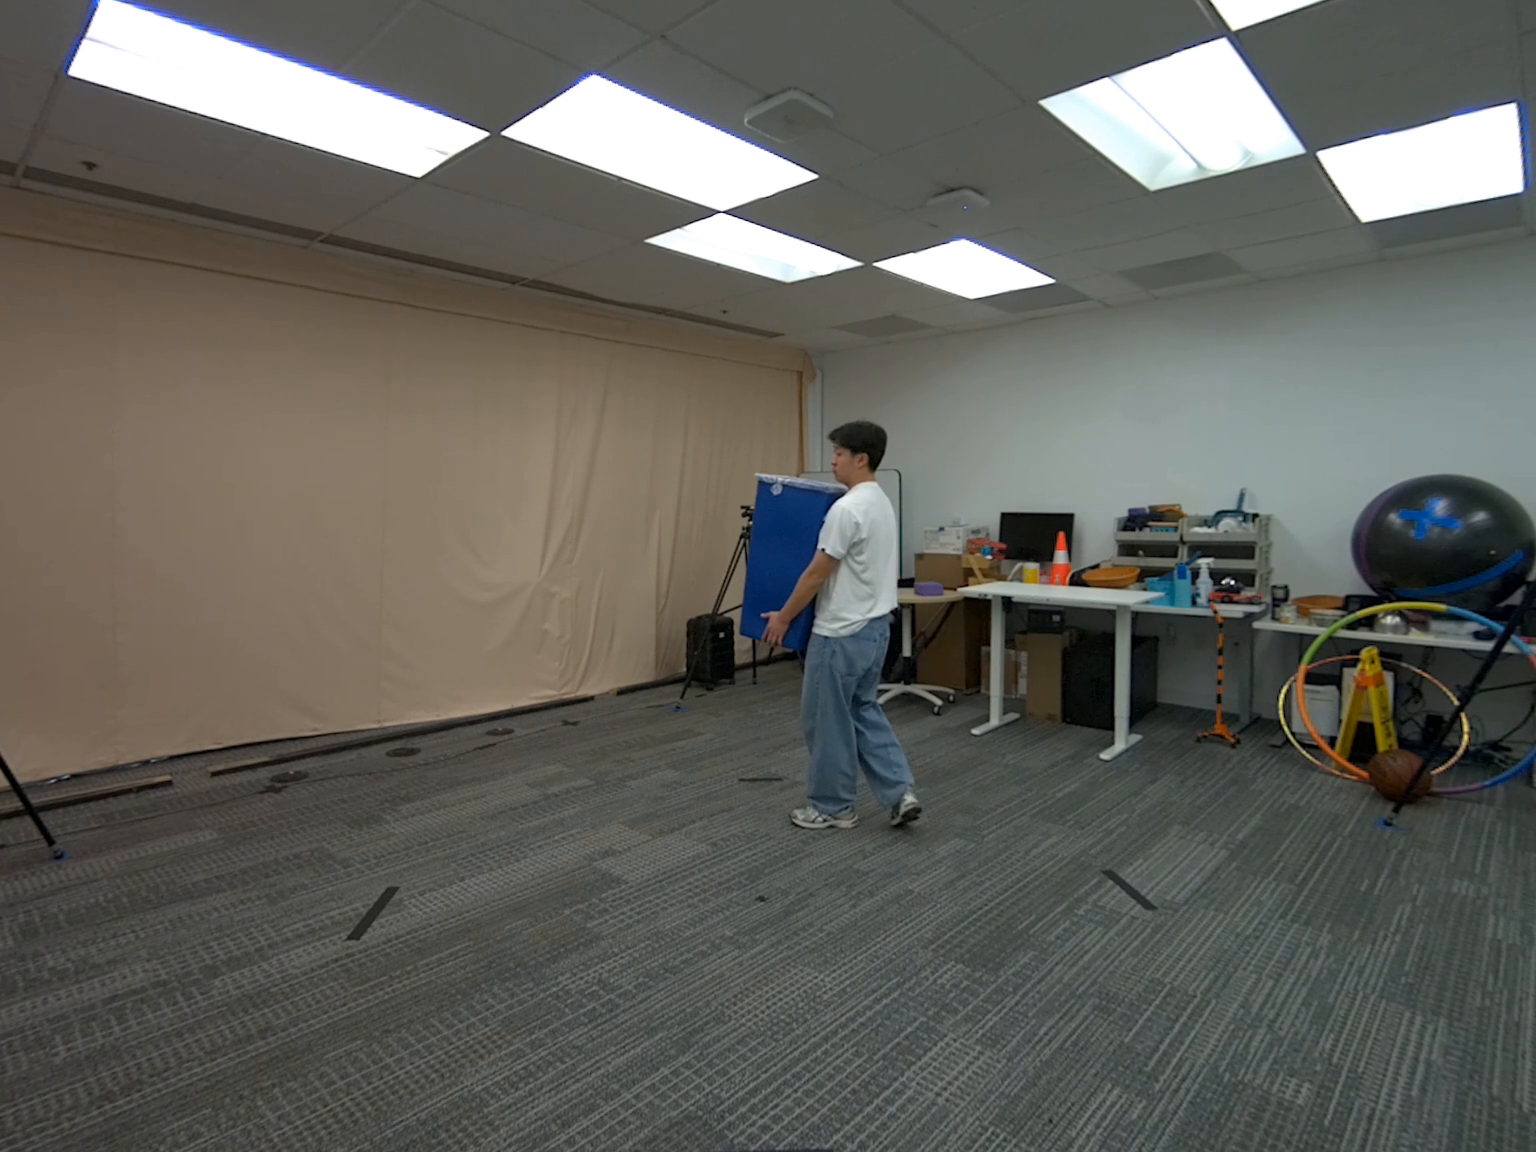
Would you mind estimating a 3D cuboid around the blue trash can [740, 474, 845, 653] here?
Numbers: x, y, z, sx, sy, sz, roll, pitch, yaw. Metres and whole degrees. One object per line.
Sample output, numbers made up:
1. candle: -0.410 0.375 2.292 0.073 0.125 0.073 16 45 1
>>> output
1. blue trash can: 0.129 -0.070 3.752 0.389 0.711 0.364 13 9 28
